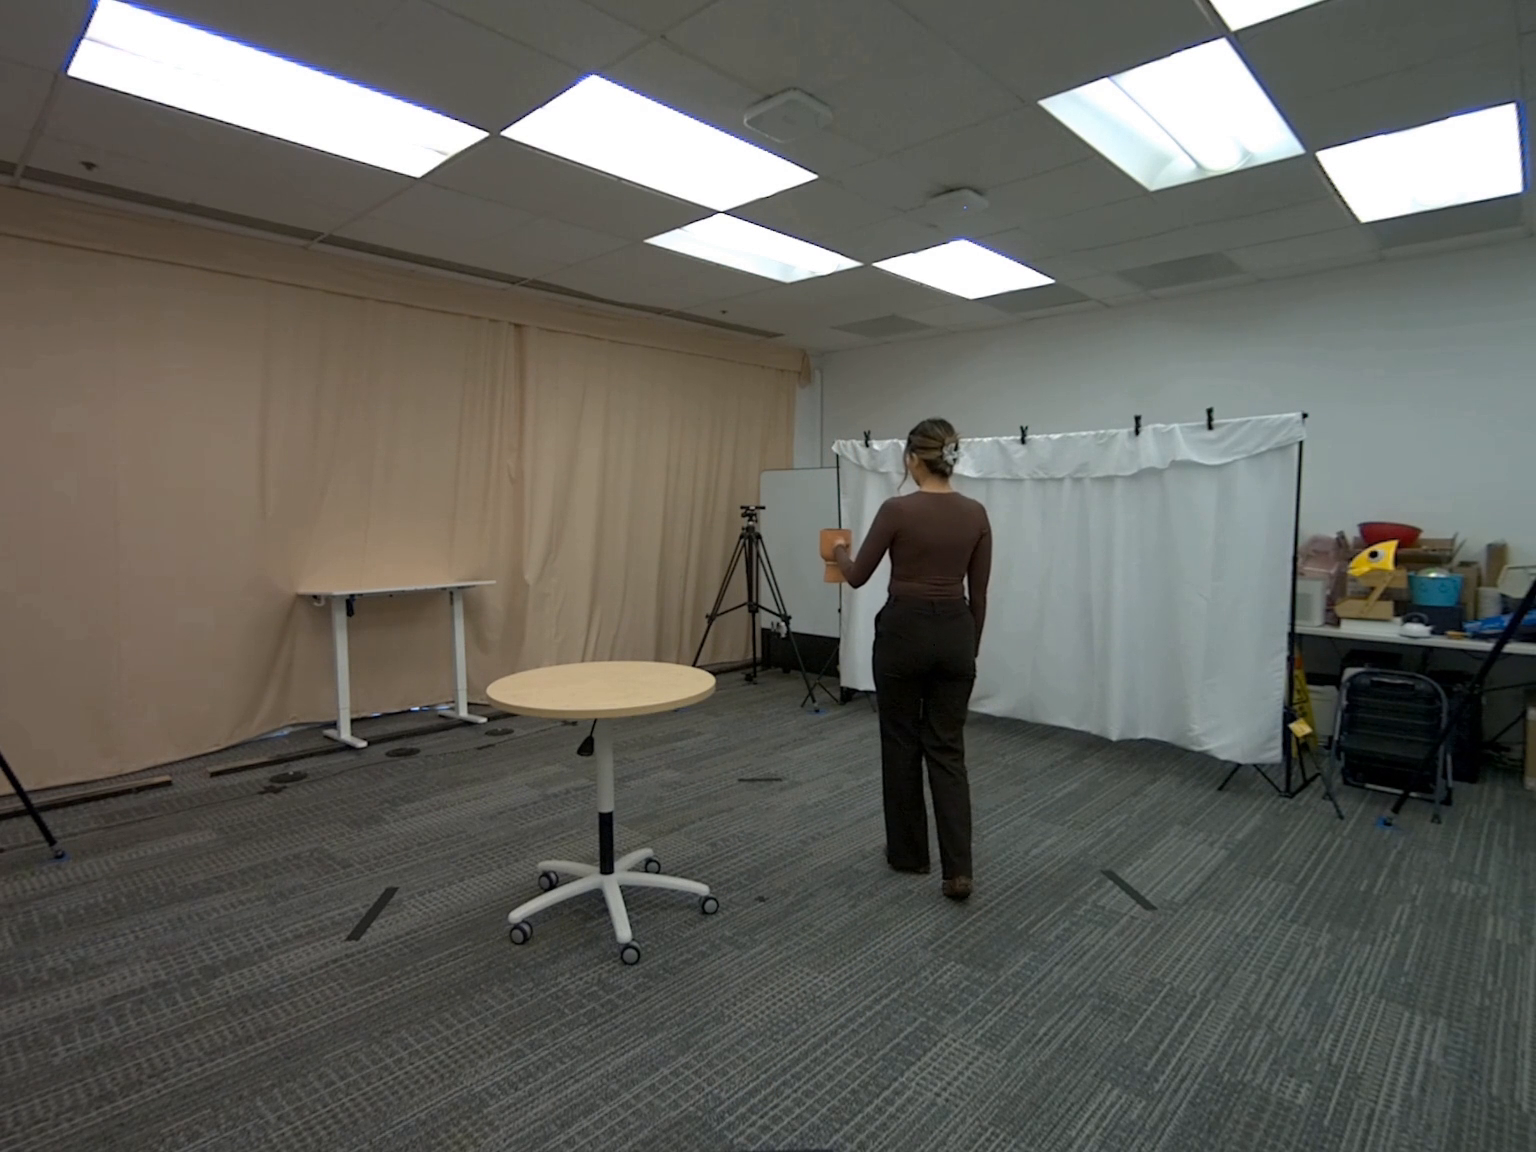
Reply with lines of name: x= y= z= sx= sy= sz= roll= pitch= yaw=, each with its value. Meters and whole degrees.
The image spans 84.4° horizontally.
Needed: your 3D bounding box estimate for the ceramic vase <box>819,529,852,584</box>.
ceramic vase: x=0.290 y=-0.085 z=3.557 sx=0.139 sy=0.219 sz=0.154 roll=2 pitch=6 yaw=35
